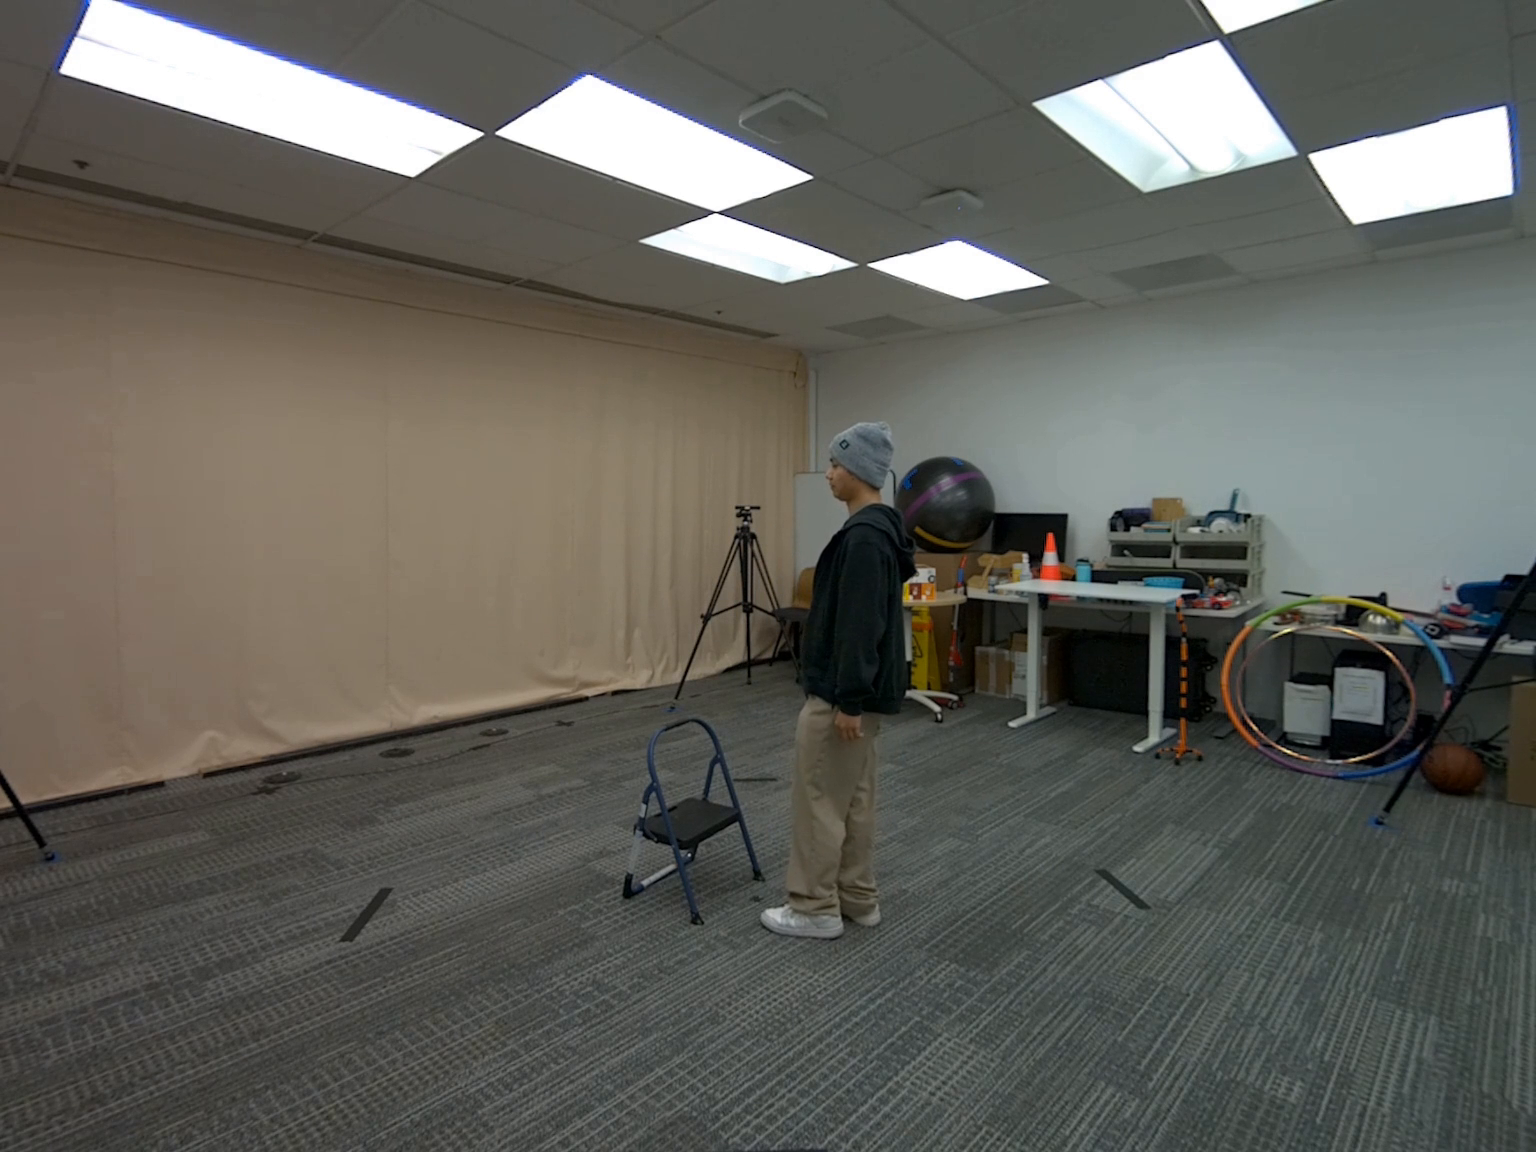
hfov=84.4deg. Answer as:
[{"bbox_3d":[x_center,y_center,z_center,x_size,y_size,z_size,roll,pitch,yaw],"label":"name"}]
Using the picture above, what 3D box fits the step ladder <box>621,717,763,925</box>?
[{"bbox_3d":[-0.269,0.838,3.055,0.360,0.605,0.419,2,4,33],"label":"step ladder"}]
